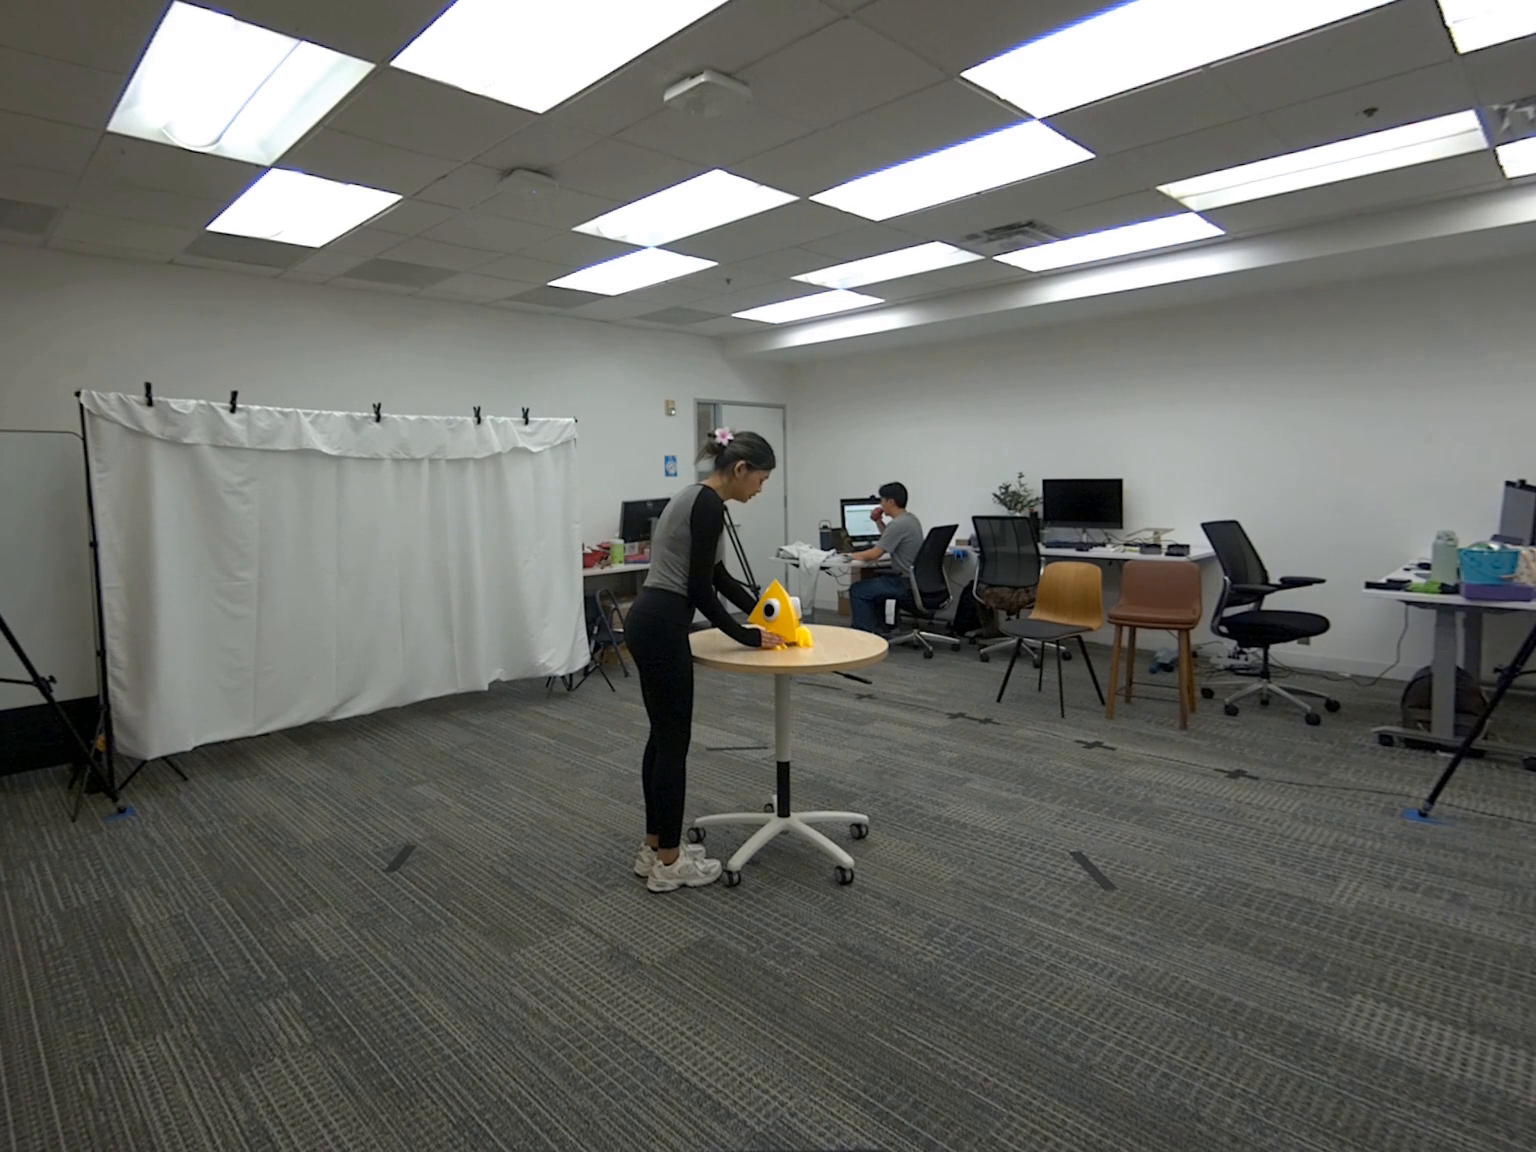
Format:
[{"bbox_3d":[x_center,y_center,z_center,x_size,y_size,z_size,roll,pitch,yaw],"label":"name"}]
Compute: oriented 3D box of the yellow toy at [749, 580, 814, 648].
[{"bbox_3d":[0.062,0.133,3.103,0.200,0.230,0.198,-3,5,-26],"label":"yellow toy"}]
